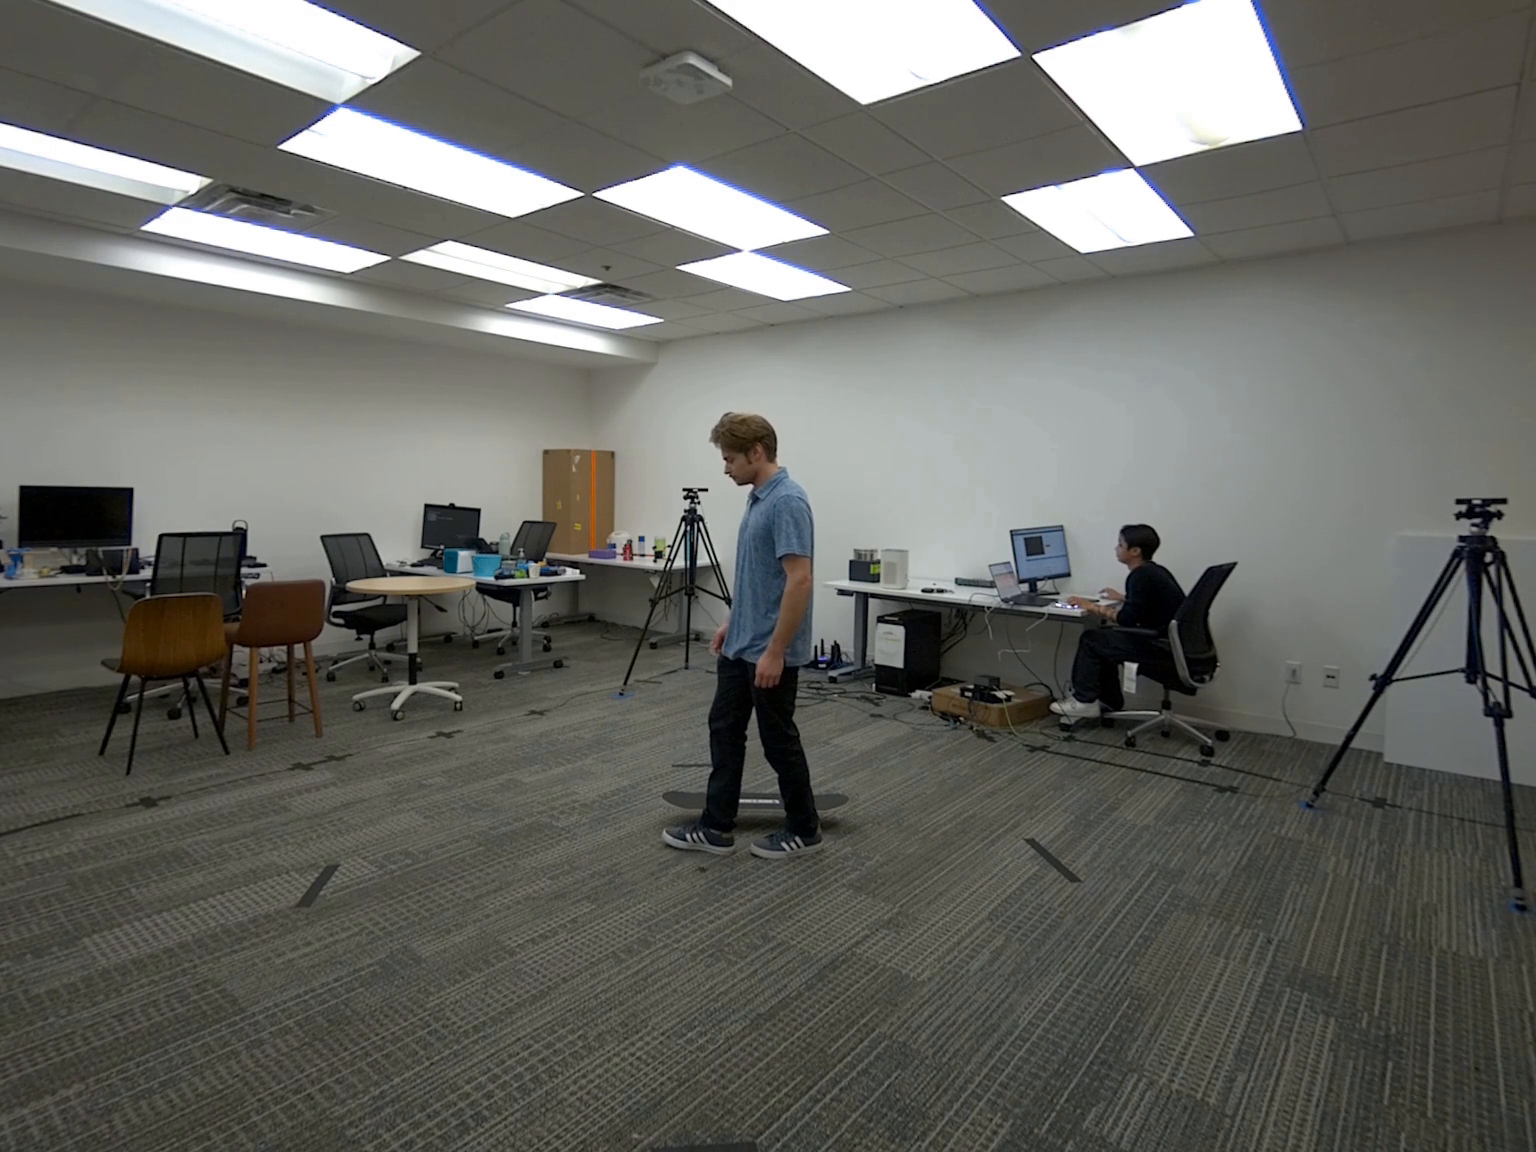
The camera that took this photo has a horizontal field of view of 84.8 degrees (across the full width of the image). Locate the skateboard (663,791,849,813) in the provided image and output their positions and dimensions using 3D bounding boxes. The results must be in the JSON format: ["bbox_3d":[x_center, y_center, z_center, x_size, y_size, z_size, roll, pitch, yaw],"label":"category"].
[{"bbox_3d":[-0.063,0.964,3.556,0.784,0.110,0.194,1,4,-2],"label":"skateboard"}]
